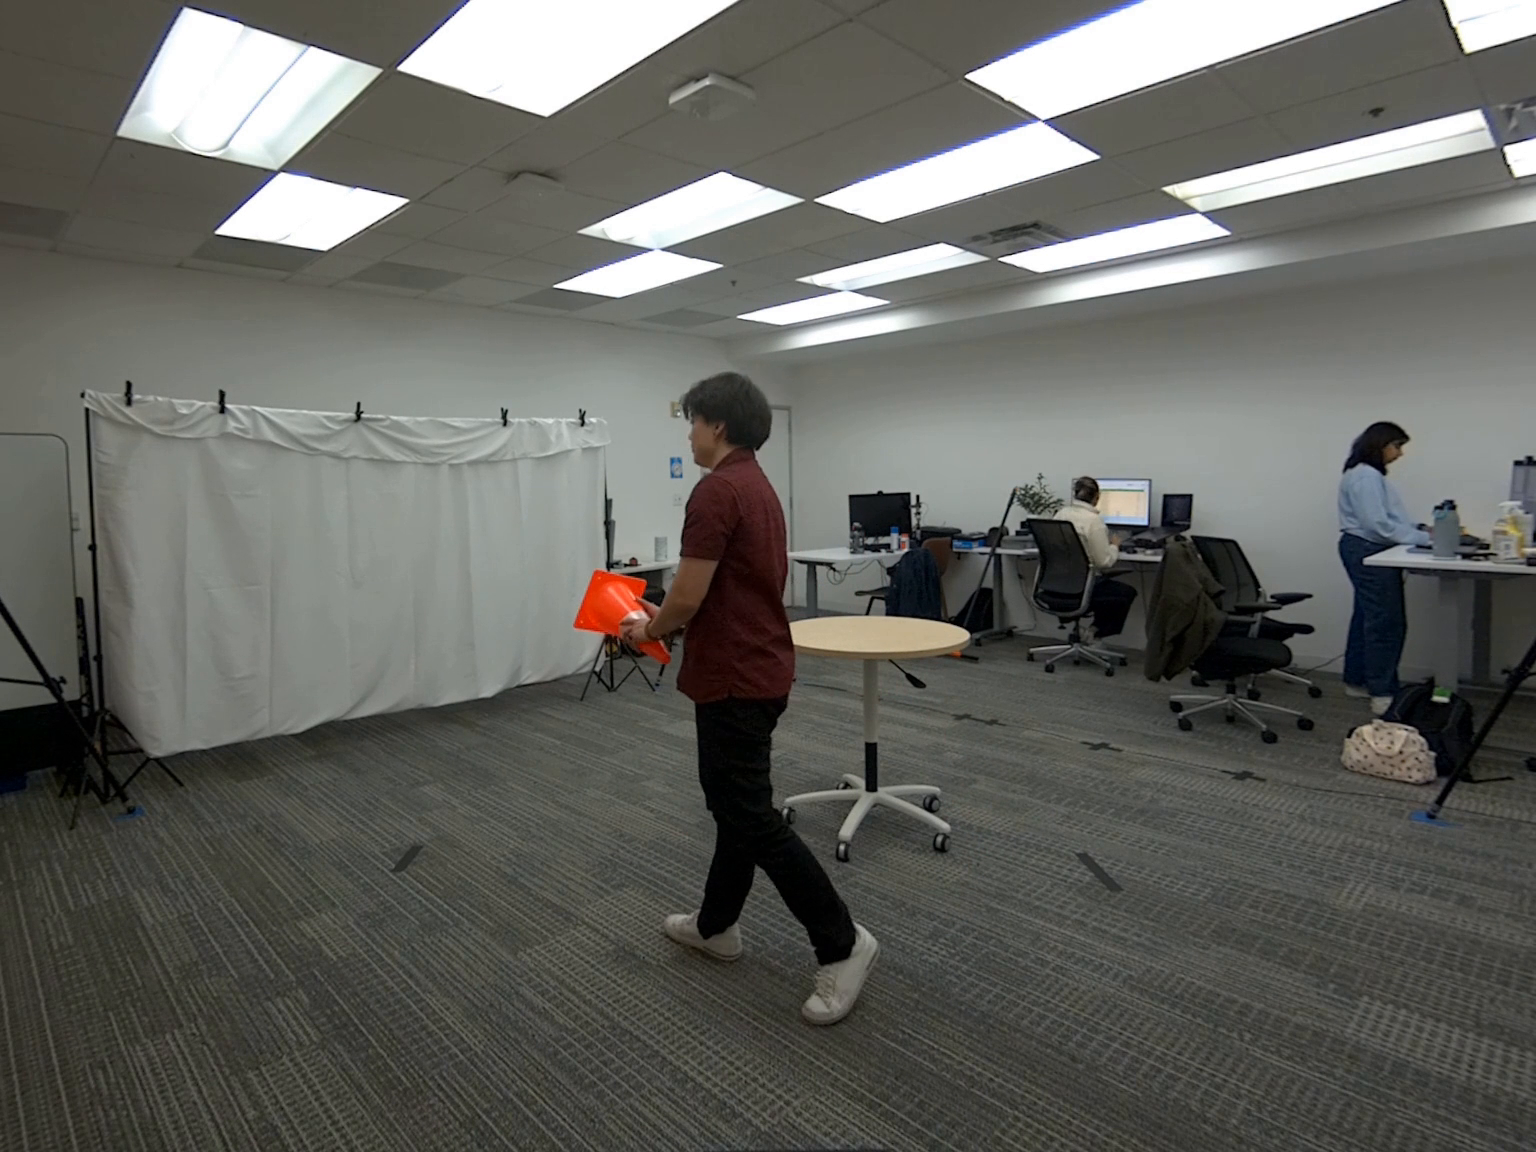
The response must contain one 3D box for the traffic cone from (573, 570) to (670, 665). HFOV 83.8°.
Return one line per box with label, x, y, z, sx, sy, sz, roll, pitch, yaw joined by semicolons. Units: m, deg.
traffic cone;-0.378;0.163;2.525;0.198;0.202;0.399;15;13;-41
